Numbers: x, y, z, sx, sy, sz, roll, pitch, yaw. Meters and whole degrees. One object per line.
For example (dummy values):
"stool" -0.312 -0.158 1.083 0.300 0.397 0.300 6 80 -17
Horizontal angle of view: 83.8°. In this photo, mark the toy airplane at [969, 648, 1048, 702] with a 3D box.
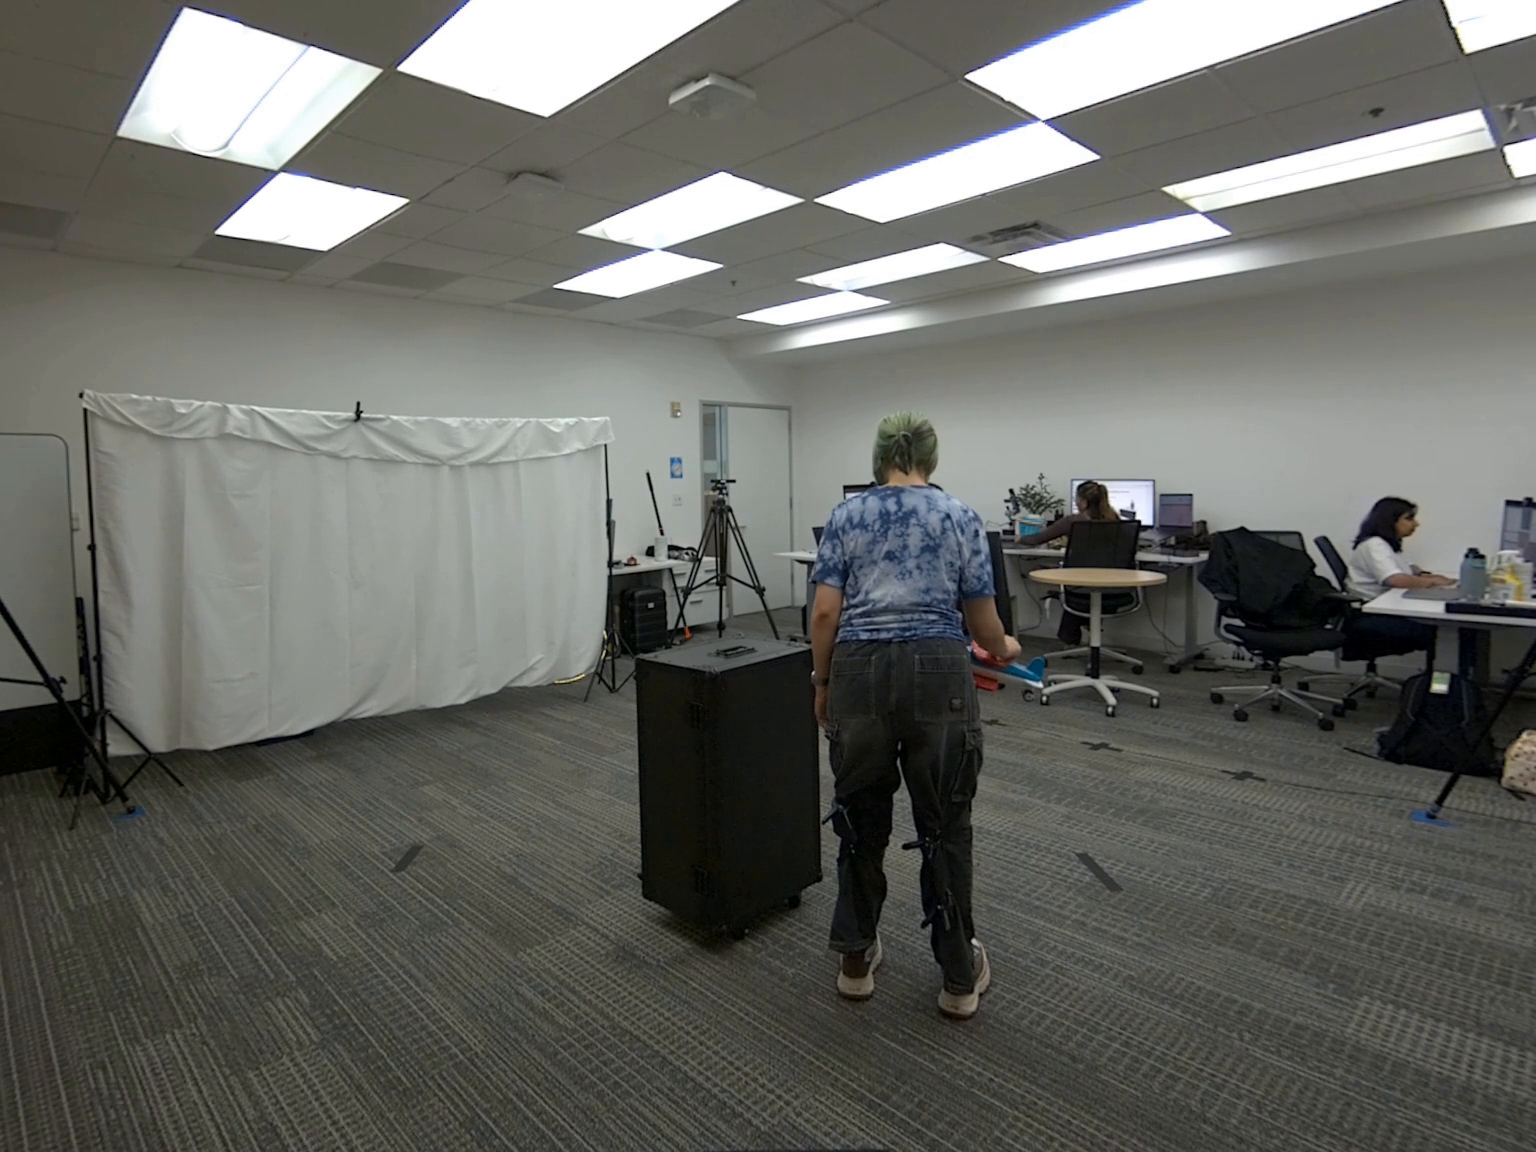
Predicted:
"toy airplane" 0.686 0.285 2.596 0.255 0.155 0.256 -1 8 -17
